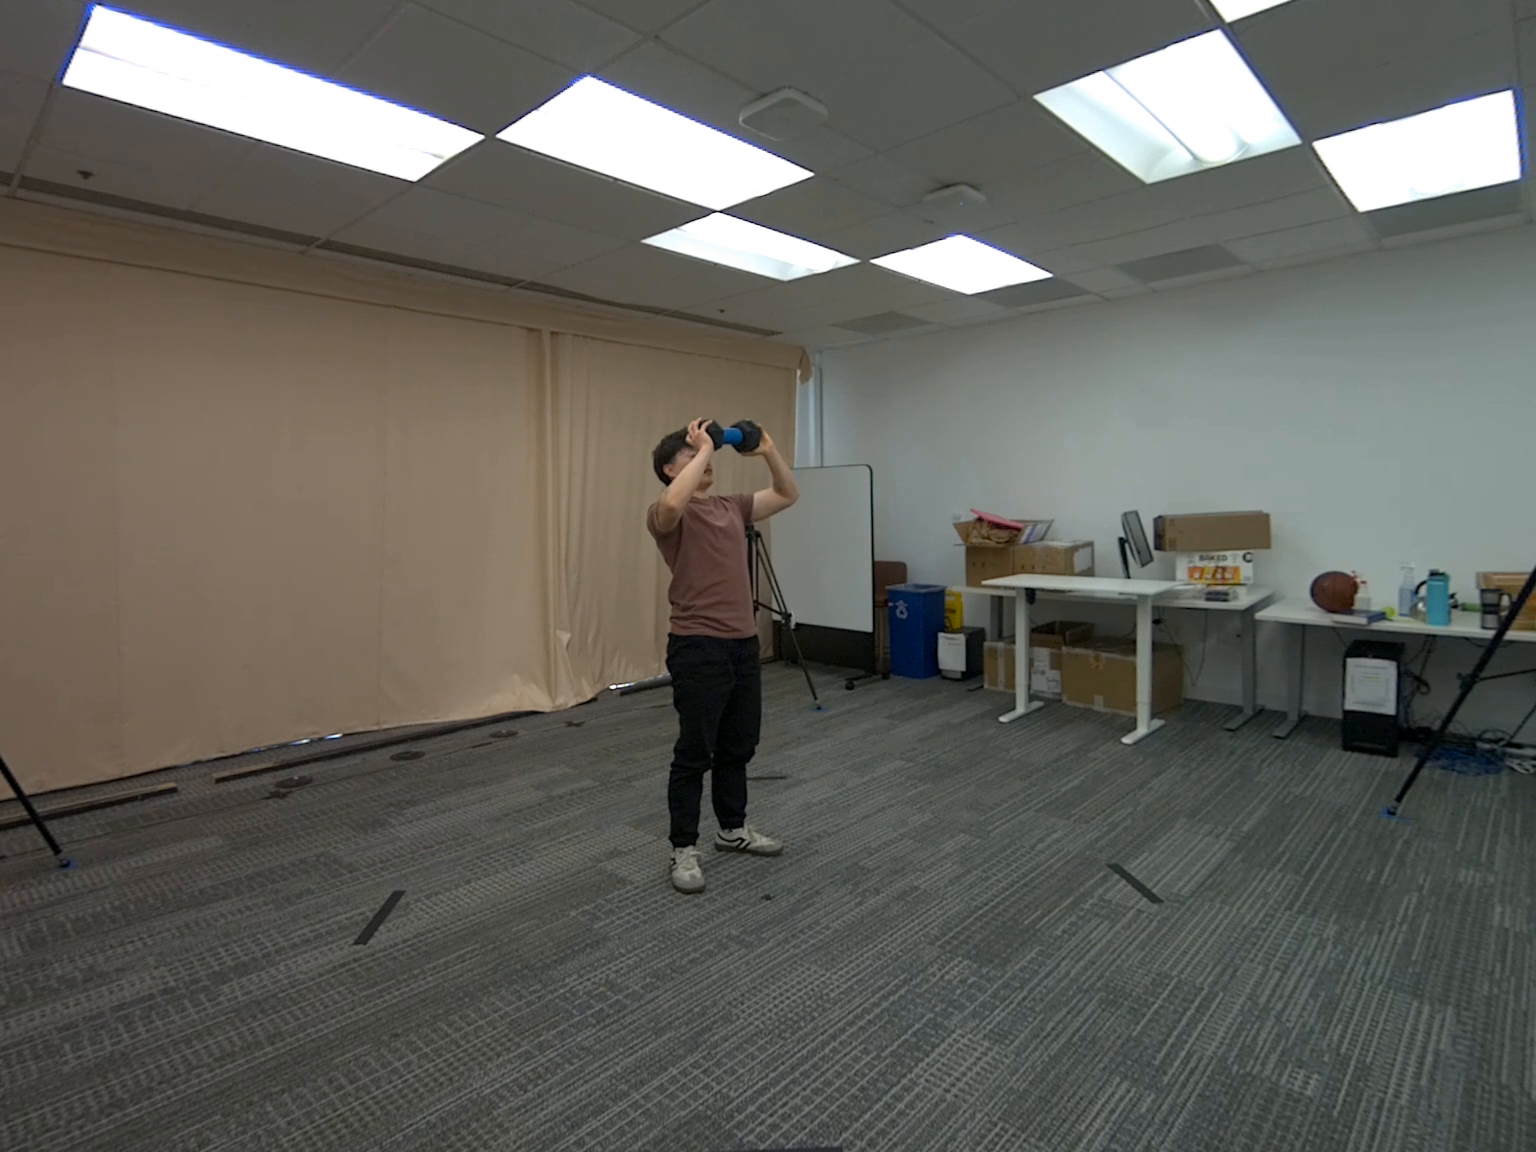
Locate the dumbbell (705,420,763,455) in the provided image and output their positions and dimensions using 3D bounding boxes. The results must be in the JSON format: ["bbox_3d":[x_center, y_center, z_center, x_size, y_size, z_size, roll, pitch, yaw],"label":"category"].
[{"bbox_3d":[-0.151,-0.517,3.111,0.285,0.109,0.126,-12,52,-50],"label":"dumbbell"}]
